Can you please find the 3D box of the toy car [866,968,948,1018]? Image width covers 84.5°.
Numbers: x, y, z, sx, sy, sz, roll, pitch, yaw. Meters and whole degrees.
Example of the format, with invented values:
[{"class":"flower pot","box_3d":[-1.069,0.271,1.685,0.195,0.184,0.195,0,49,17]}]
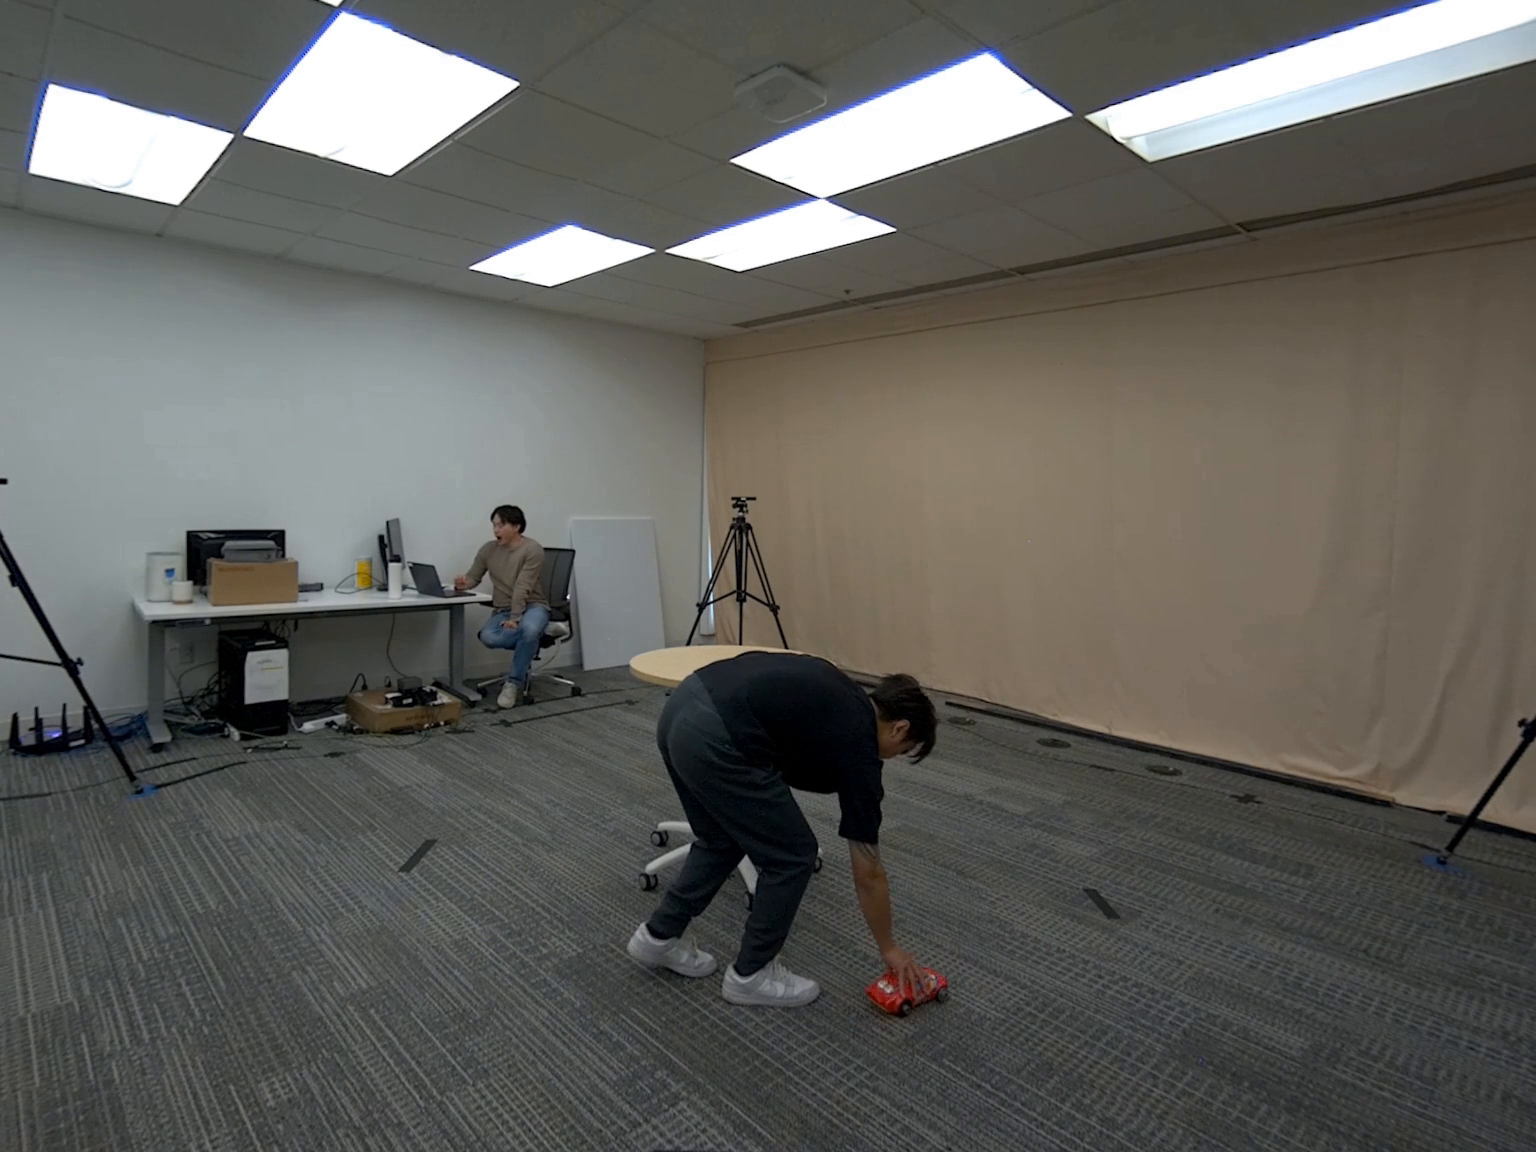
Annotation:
[{"class":"toy car","box_3d":[0.377,1.162,2.348,0.248,0.083,0.133,11,-3,-32]}]
